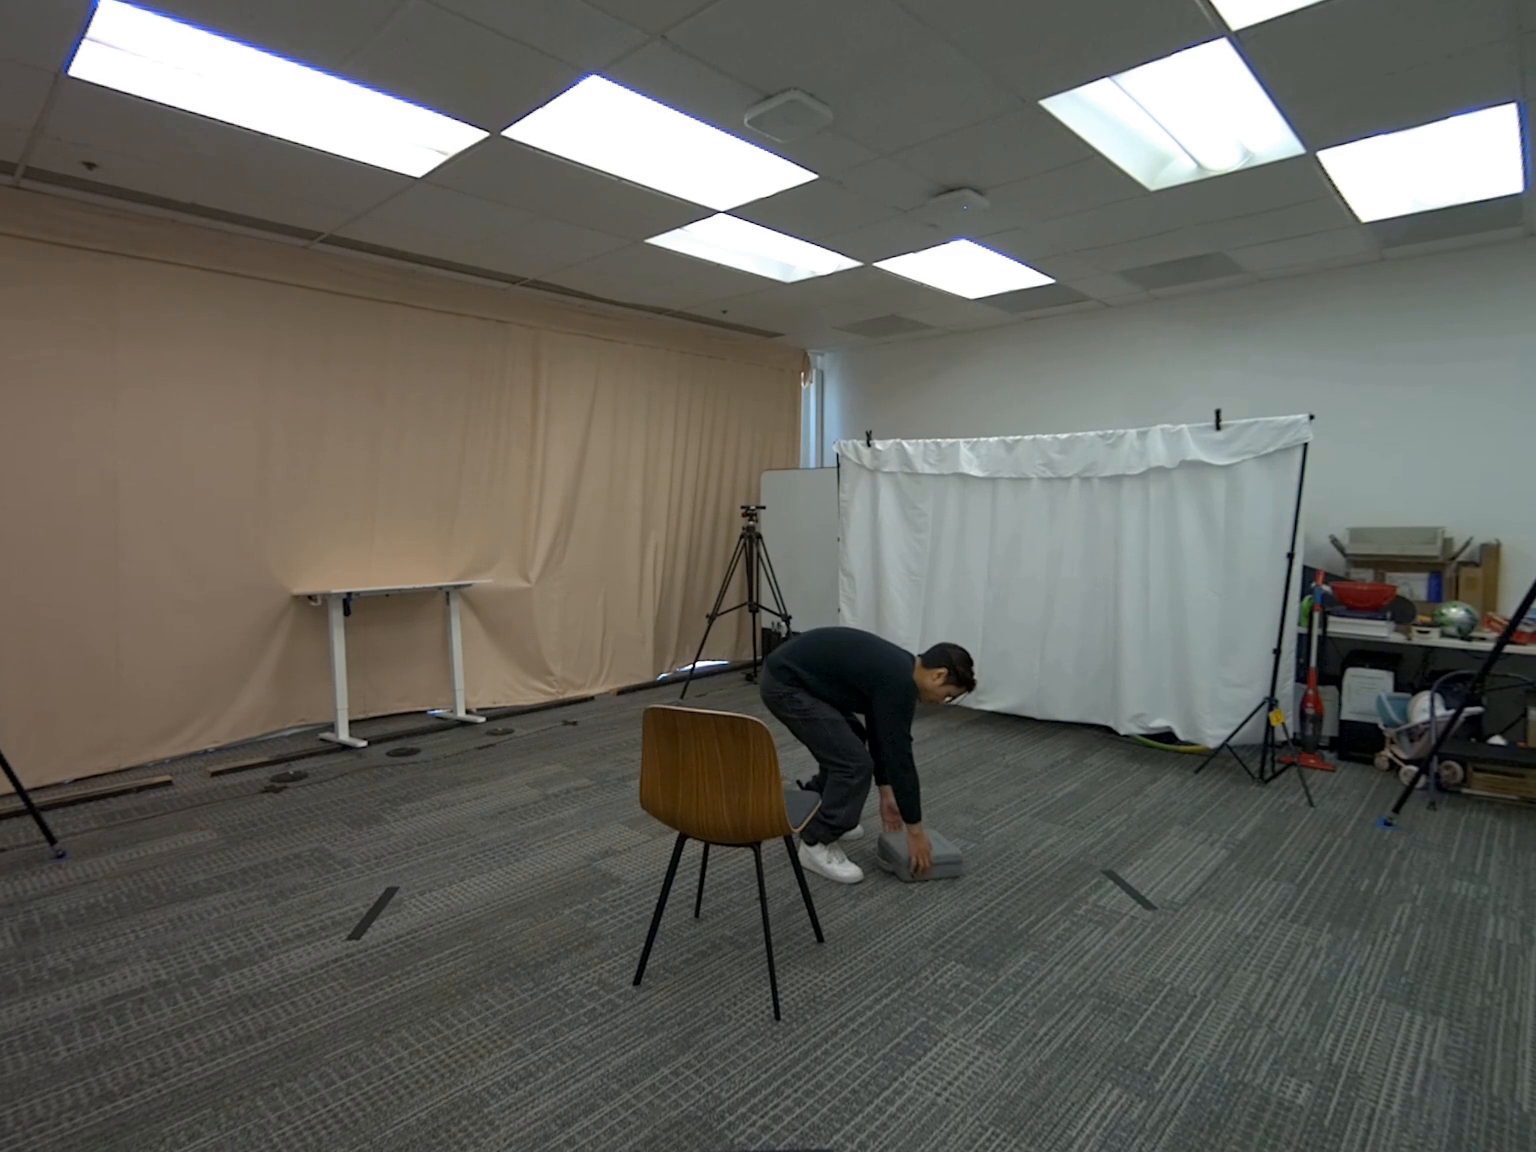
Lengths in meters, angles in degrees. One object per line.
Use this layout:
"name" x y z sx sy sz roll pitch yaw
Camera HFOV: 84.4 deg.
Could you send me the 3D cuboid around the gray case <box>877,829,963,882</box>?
"gray case" 0.583 1.062 3.230 0.257 0.104 0.261 -1 4 -14
